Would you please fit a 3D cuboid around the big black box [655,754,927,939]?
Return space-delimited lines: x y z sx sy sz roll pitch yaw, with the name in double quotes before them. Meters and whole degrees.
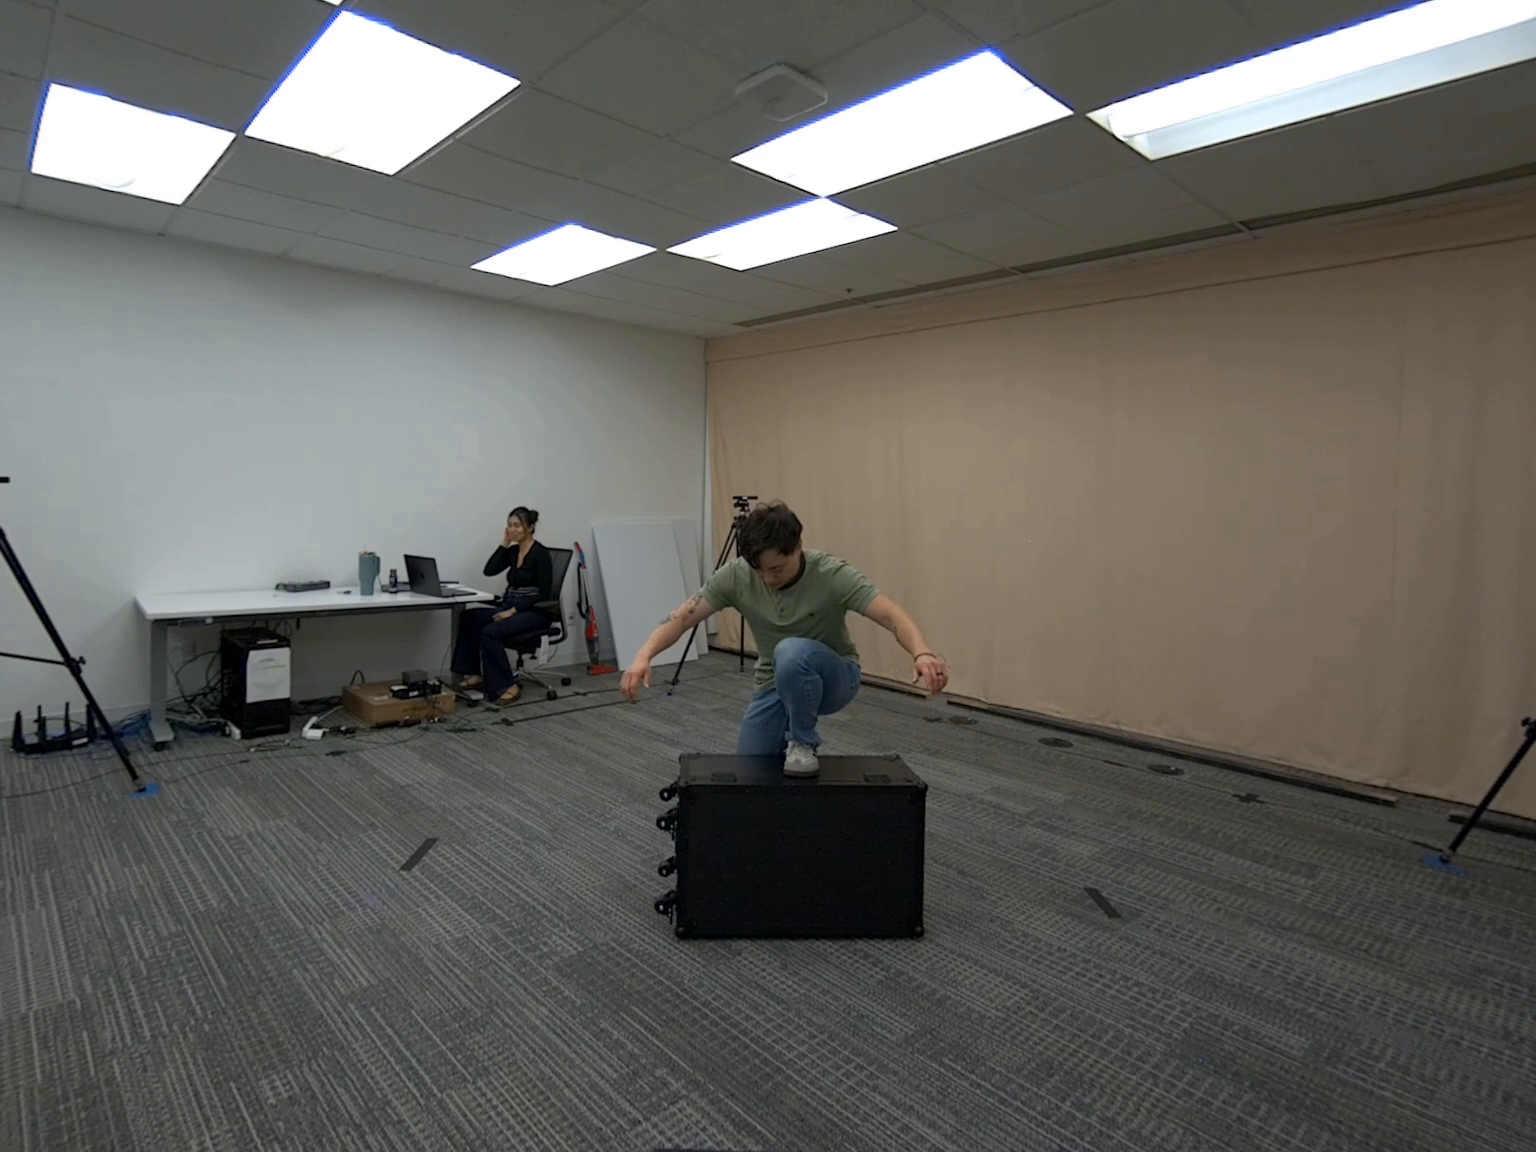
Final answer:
"big black box" 0.056 0.877 2.825 0.858 0.521 0.398 1 2 -4
